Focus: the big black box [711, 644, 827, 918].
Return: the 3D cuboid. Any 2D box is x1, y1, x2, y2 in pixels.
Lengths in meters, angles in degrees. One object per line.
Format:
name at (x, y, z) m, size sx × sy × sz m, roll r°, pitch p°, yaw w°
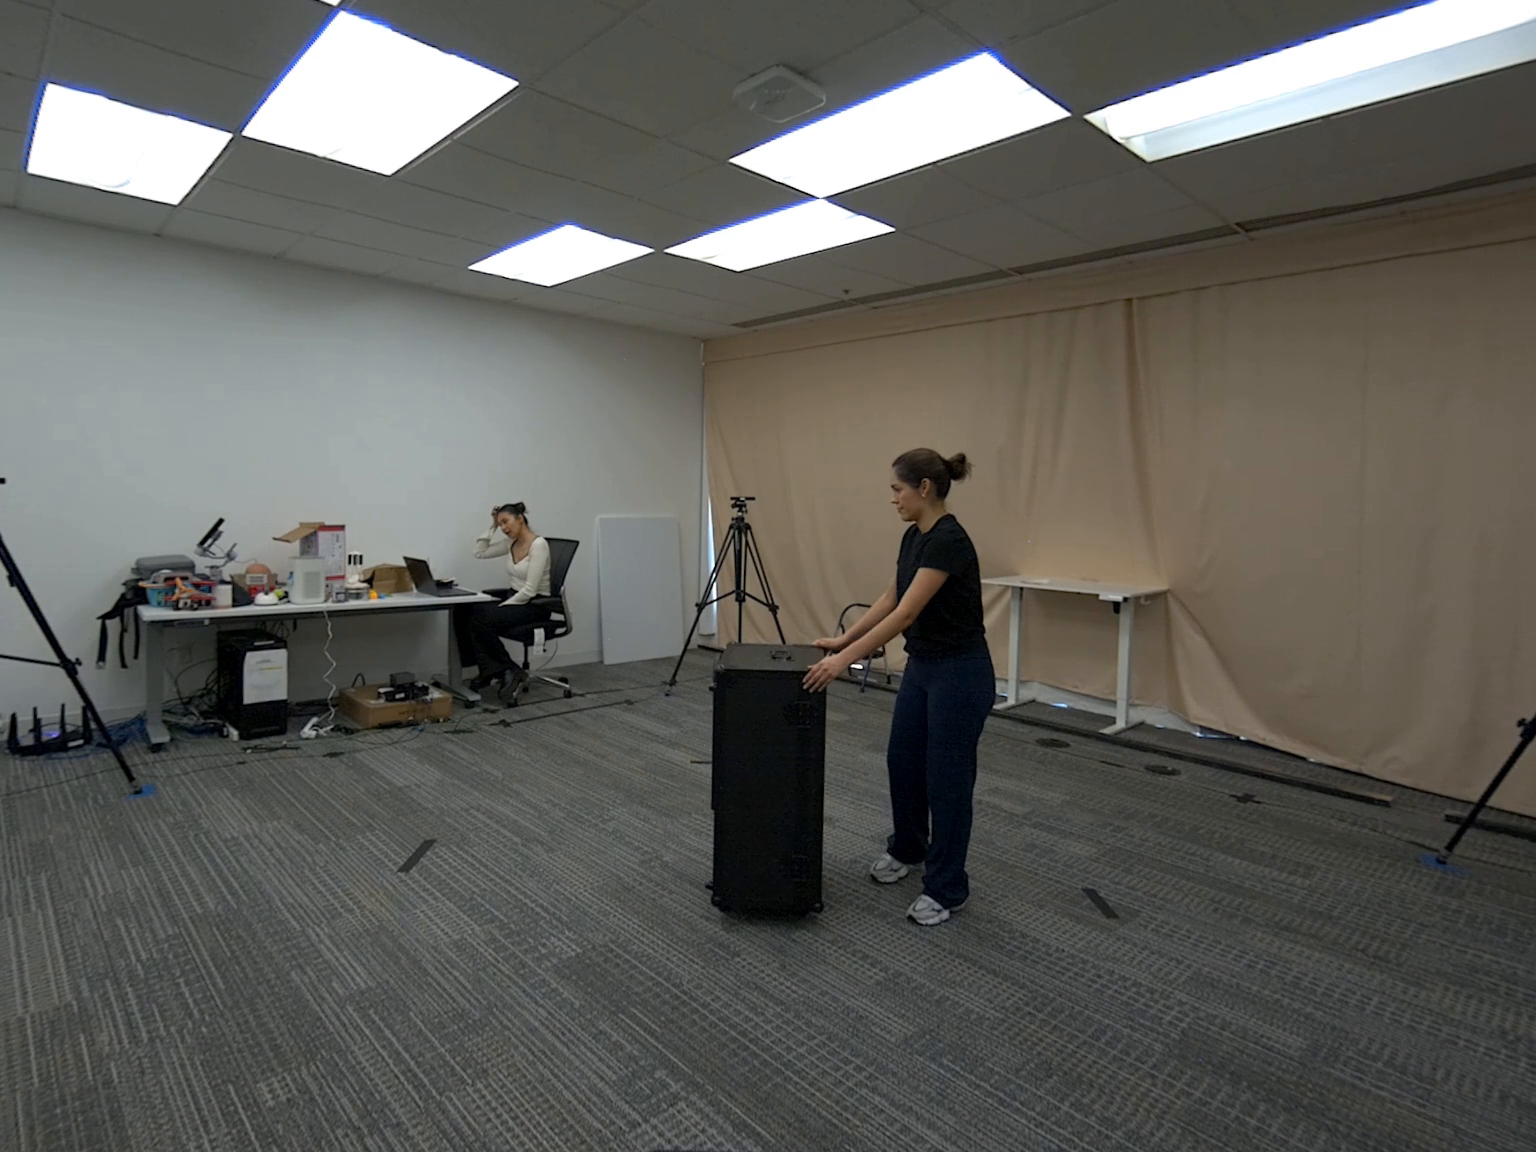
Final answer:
big black box at (0.000, 0.704, 2.918) m, size 0.397 × 0.859 × 0.521 m, roll 0°, pitch 4°, yaw 2°
